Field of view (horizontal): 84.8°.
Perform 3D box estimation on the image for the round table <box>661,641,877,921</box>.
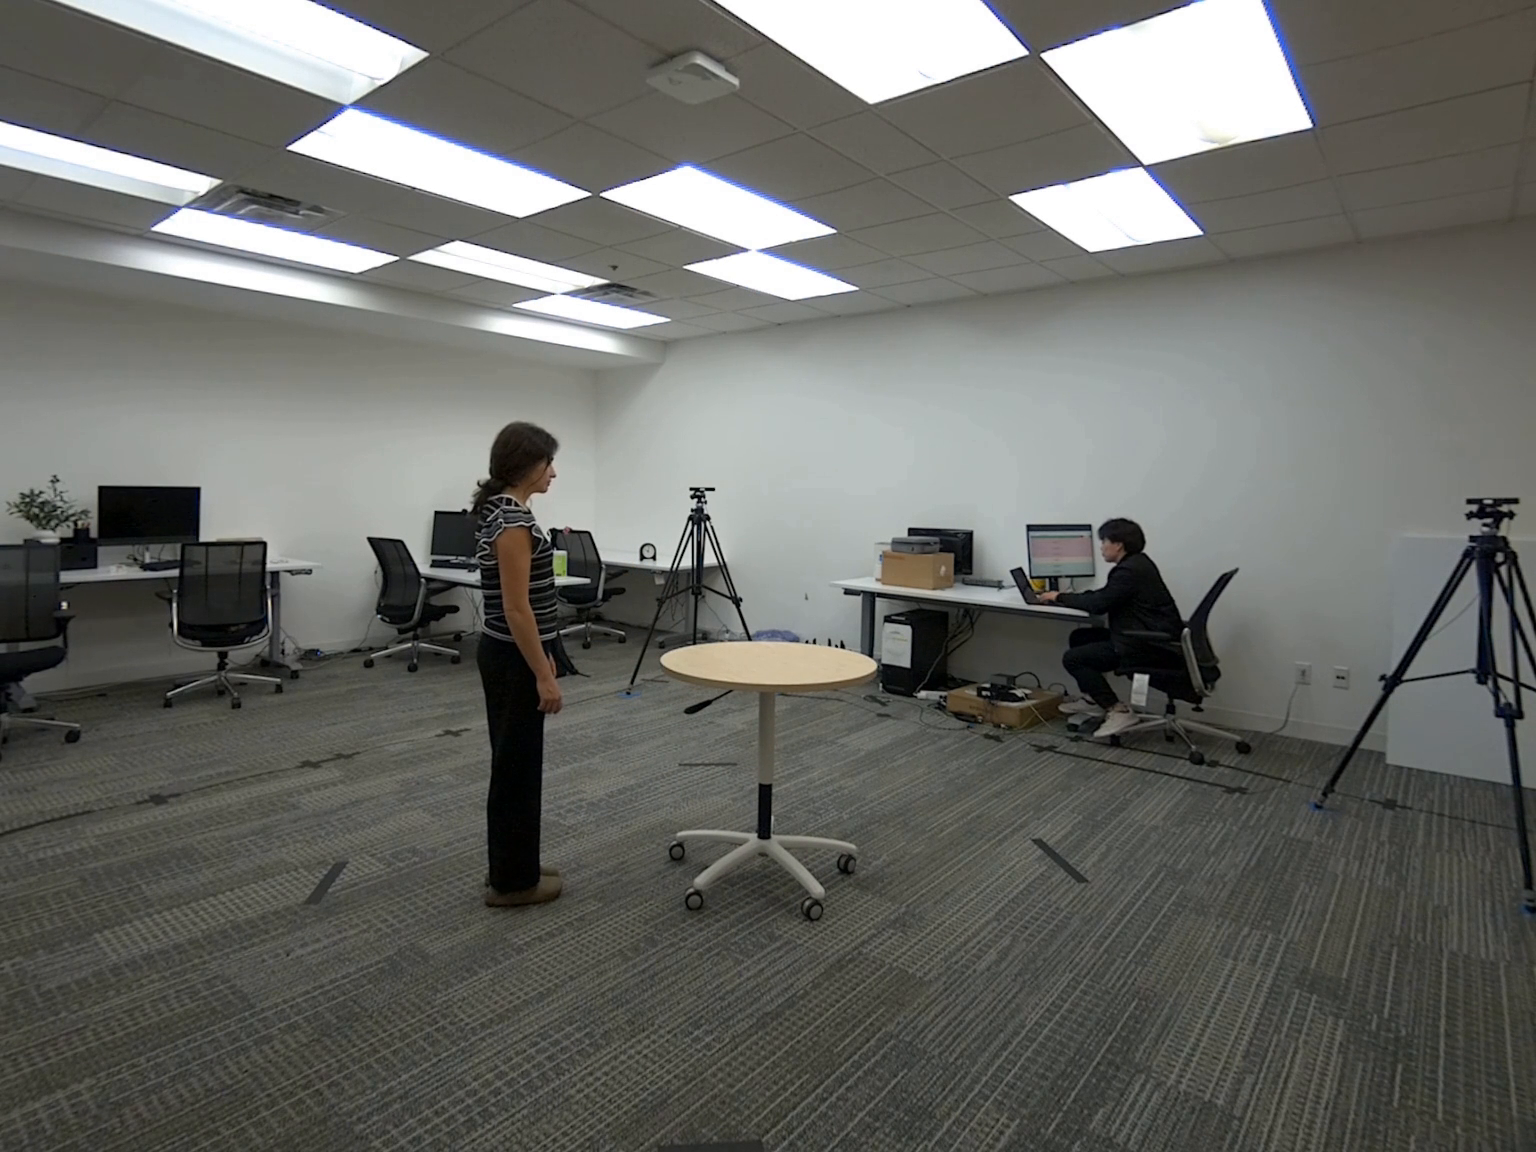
[{"bbox_3d":[-0.019,0.693,3.042,0.763,0.791,0.768,1,4,-2],"label":"round table"}]
